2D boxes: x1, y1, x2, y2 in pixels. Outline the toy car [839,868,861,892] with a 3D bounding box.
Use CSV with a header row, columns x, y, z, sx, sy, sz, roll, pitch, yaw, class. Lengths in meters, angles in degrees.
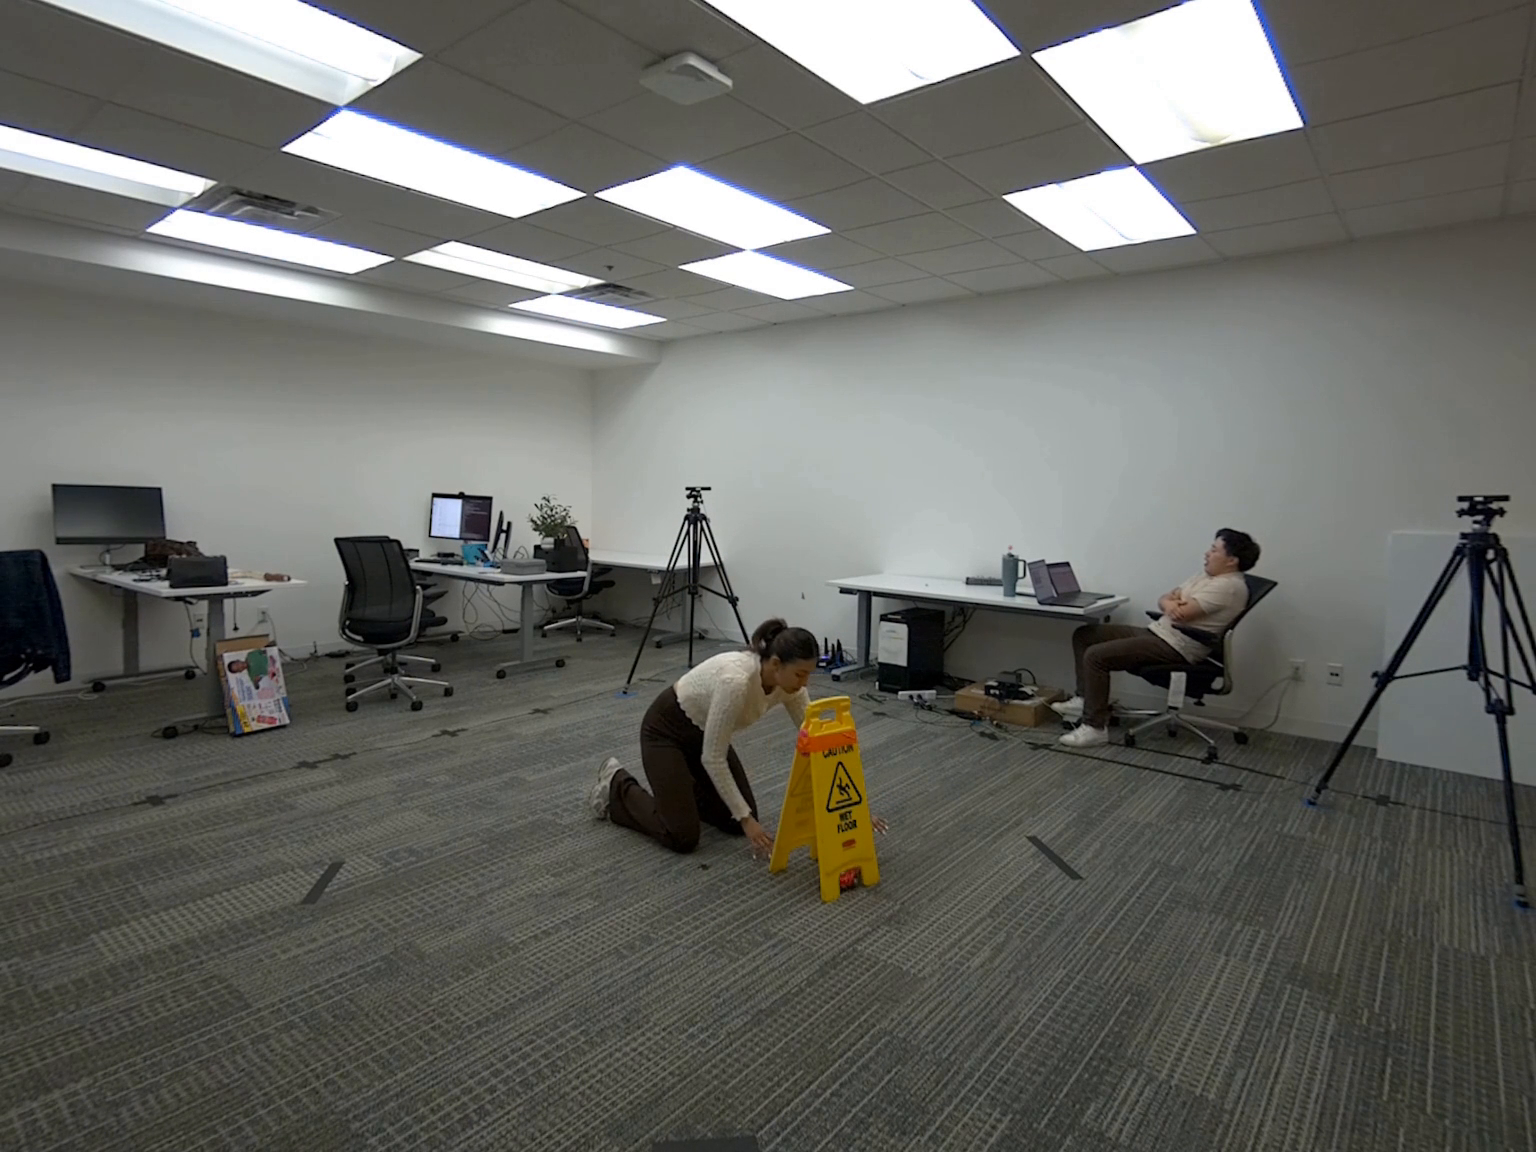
x,y,z,sx,sy,sz,roll,pitch,yaw,class
0.285,1.041,3.082,0.133,0.083,0.249,1,-3,16,toy car
